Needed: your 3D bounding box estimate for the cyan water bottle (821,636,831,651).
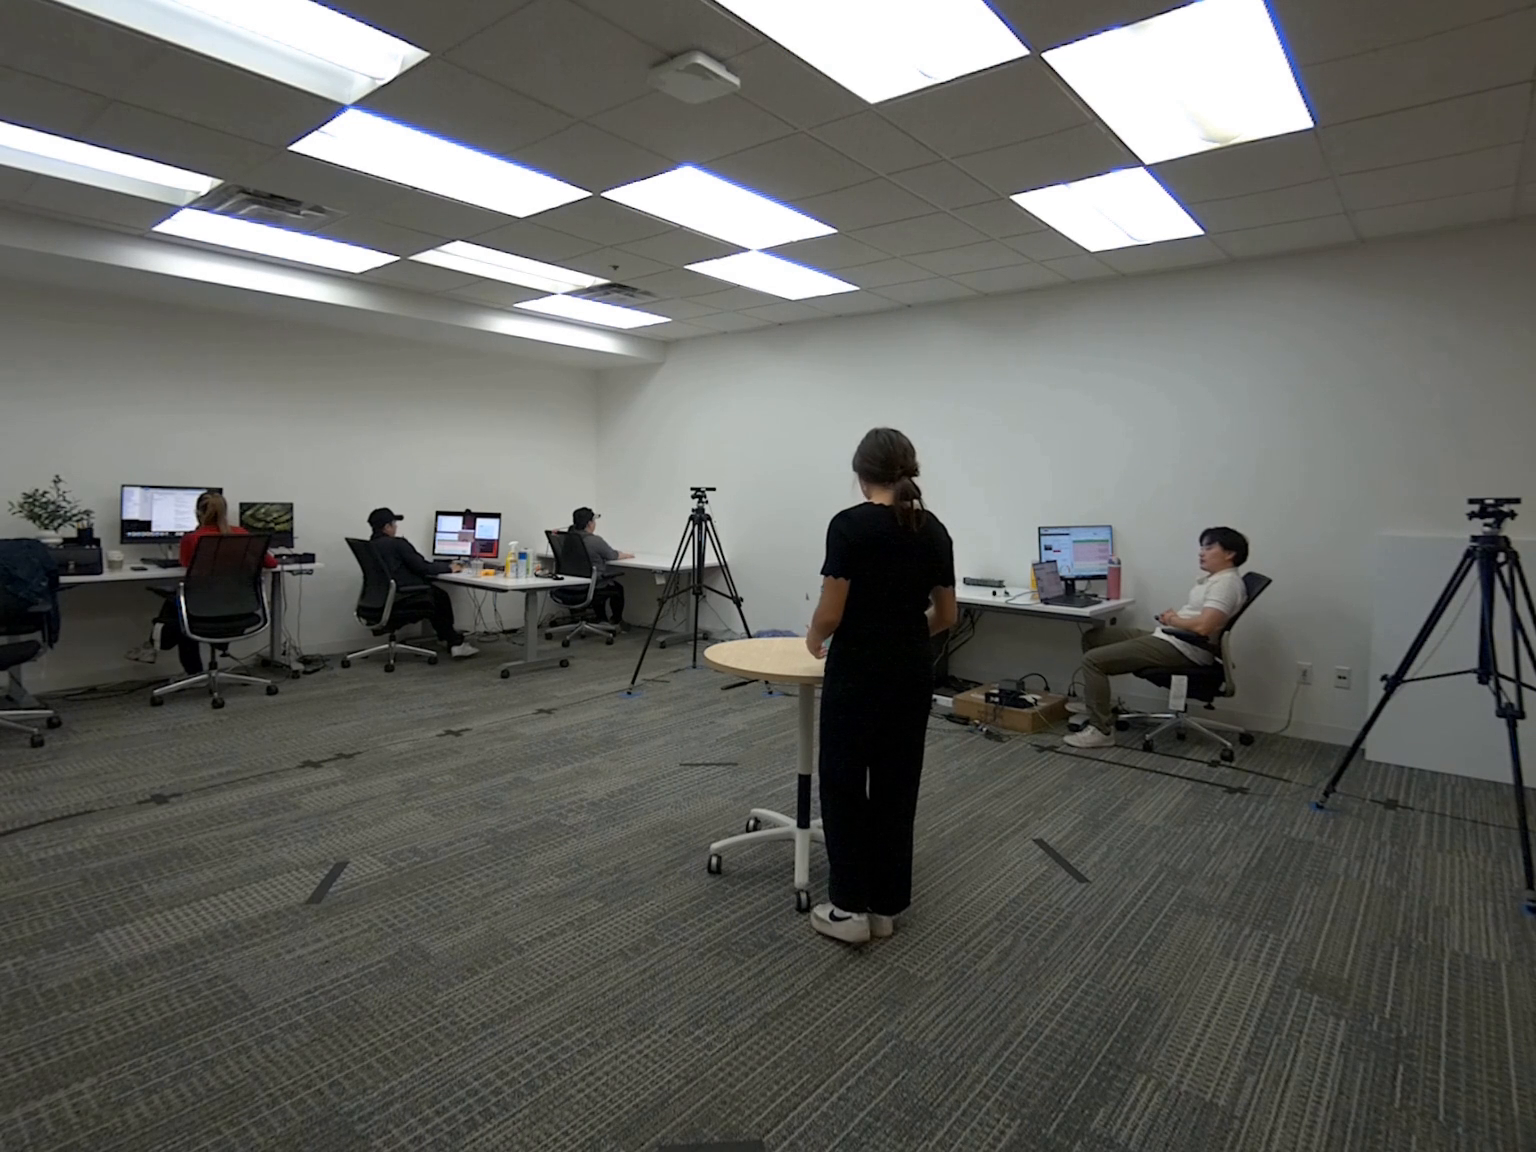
[{"bbox_3d":[0.224,0.146,3.130,0.092,0.282,0.093,2,3,-2],"label":"cyan water bottle"}]
